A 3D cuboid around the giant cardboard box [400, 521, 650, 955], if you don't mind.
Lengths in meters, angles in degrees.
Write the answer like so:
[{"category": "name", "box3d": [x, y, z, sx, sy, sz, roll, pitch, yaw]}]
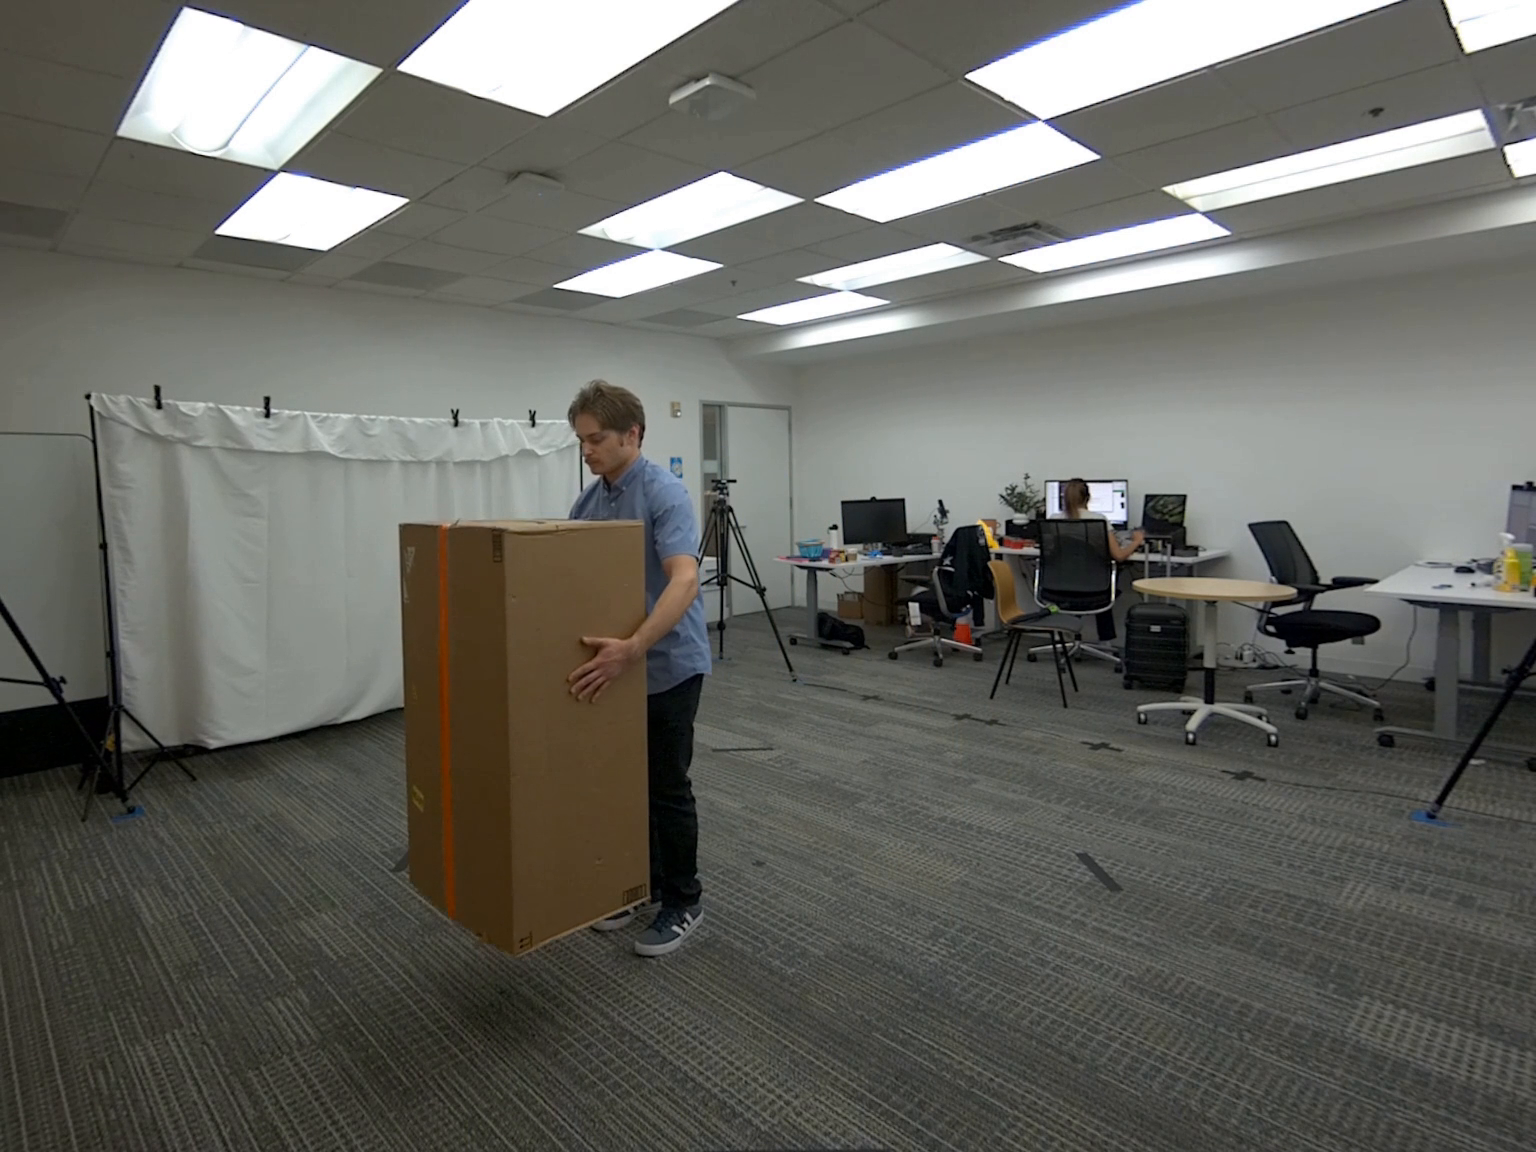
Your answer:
[{"category": "giant cardboard box", "box3d": [-0.674, 0.370, 2.330, 0.414, 1.023, 0.595, -4, 4, -44]}]
